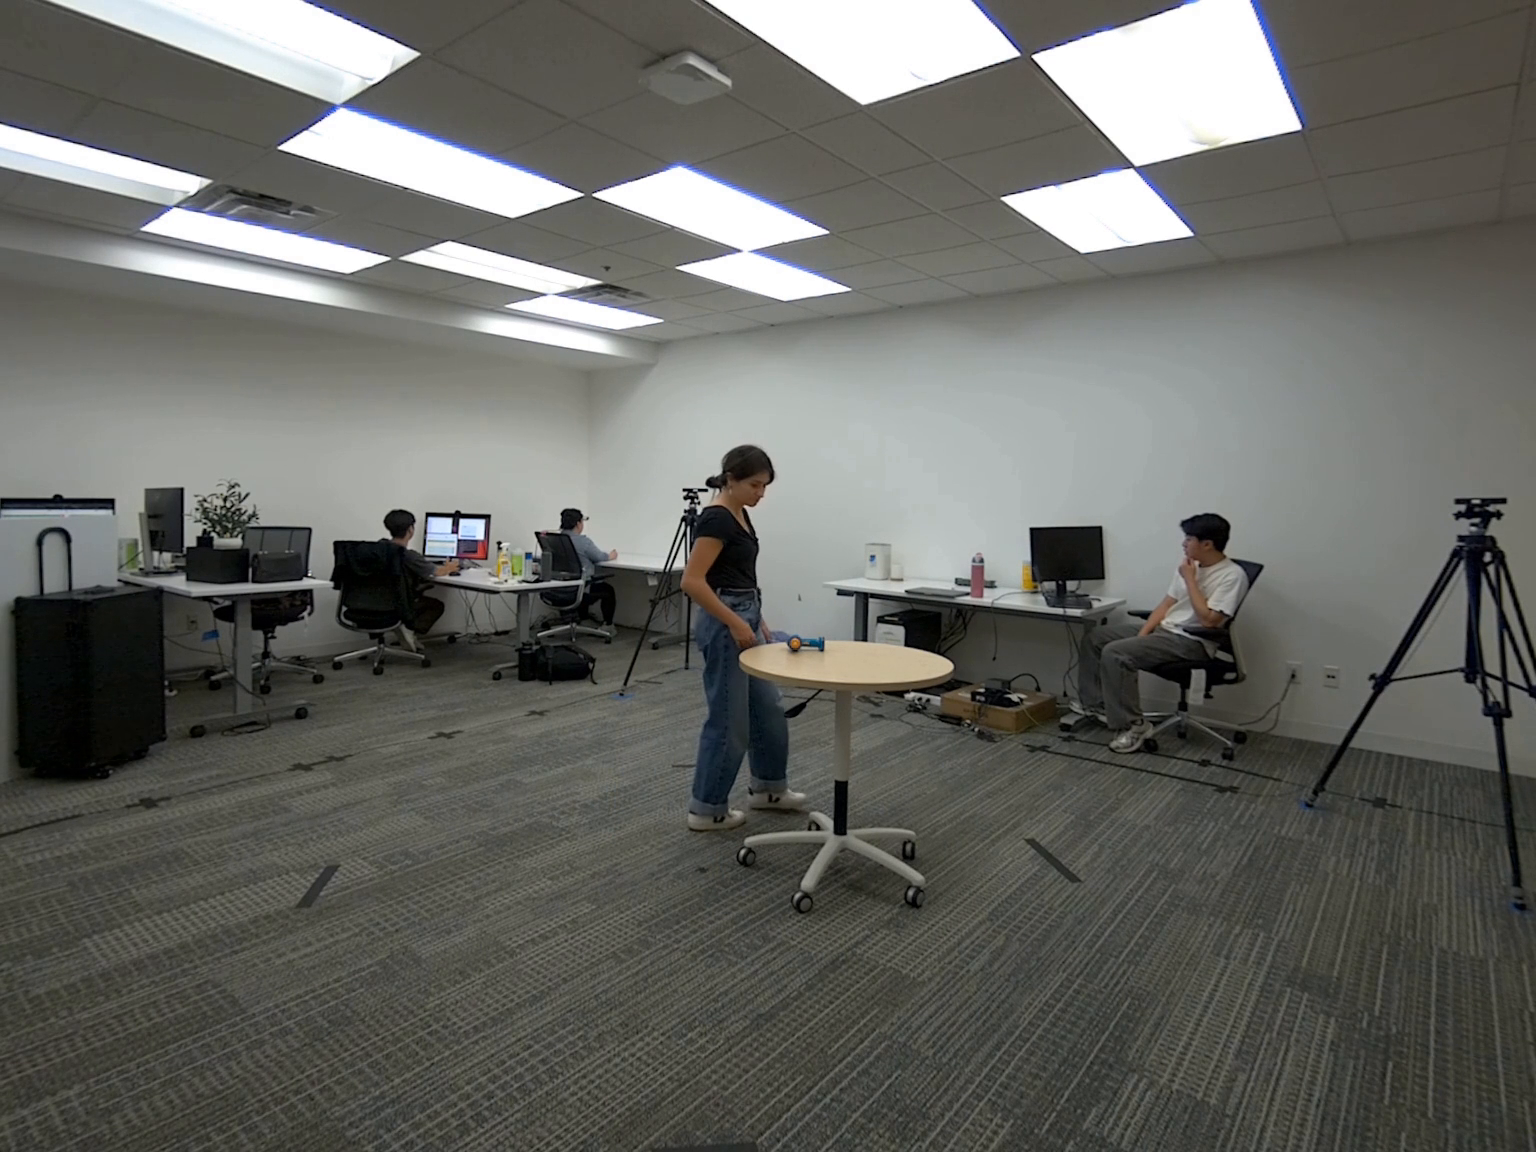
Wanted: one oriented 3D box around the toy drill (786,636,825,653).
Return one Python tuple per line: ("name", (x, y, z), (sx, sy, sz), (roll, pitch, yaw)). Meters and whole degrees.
("toy drill", (0.141, 0.246, 3.216), (0.146, 0.061, 0.168), (2, -2, 2))
